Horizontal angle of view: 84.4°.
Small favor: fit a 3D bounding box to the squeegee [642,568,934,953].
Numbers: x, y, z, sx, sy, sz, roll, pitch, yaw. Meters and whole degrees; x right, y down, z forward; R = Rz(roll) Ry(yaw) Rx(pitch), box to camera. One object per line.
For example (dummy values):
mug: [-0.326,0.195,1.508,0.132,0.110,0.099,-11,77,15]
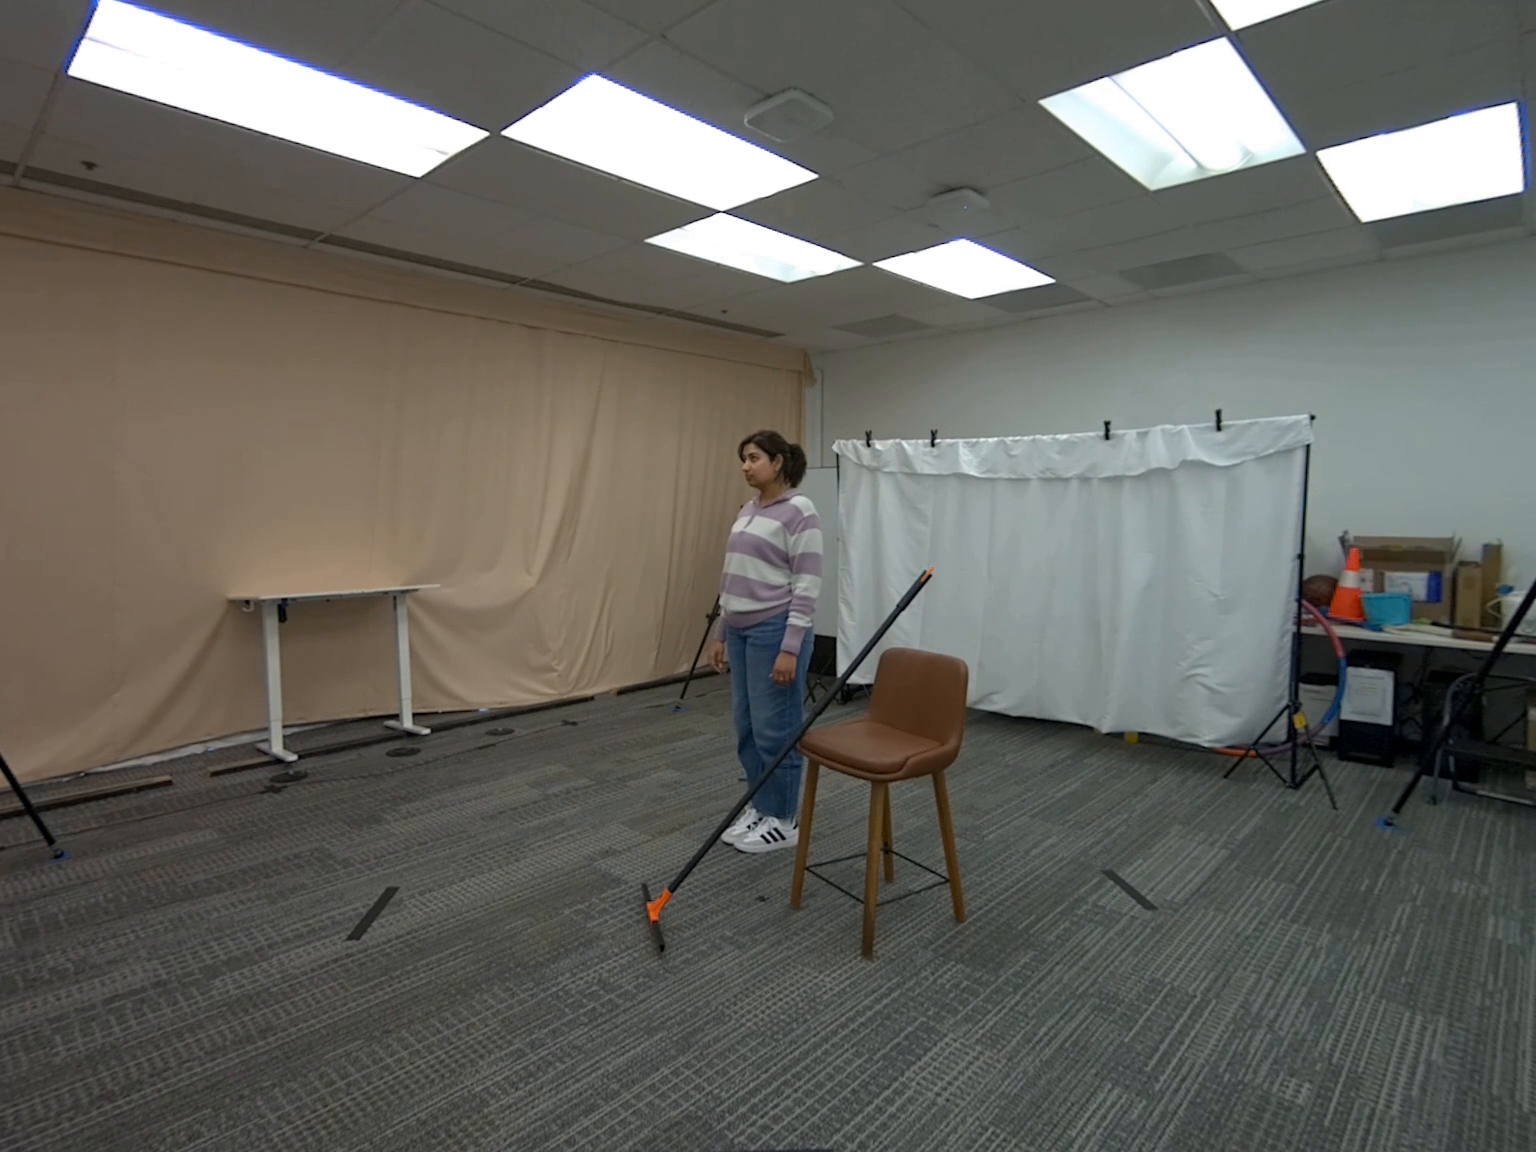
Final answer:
squeegee: [0.088,0.553,2.861,0.052,1.536,0.445,42,-5,-15]
